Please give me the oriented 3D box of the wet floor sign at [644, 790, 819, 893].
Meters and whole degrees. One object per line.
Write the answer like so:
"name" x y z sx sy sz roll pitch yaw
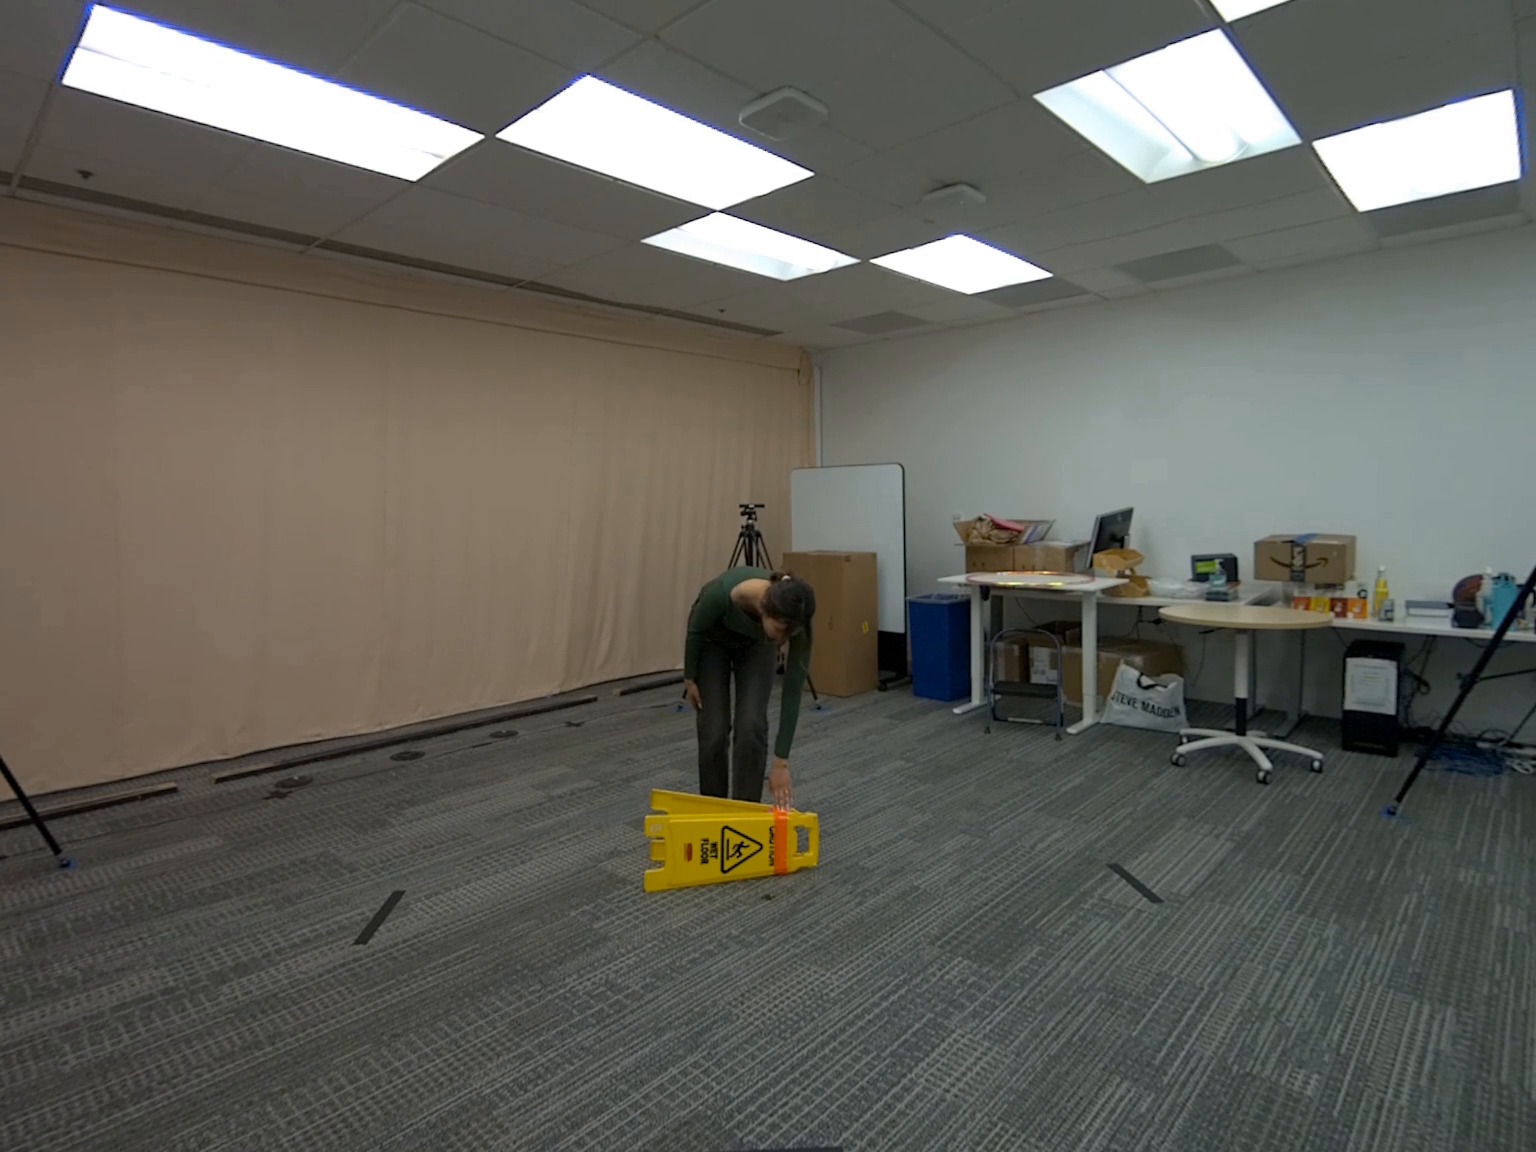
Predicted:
"wet floor sign" -0.126 0.990 3.183 0.645 0.282 0.290 1 4 -1
